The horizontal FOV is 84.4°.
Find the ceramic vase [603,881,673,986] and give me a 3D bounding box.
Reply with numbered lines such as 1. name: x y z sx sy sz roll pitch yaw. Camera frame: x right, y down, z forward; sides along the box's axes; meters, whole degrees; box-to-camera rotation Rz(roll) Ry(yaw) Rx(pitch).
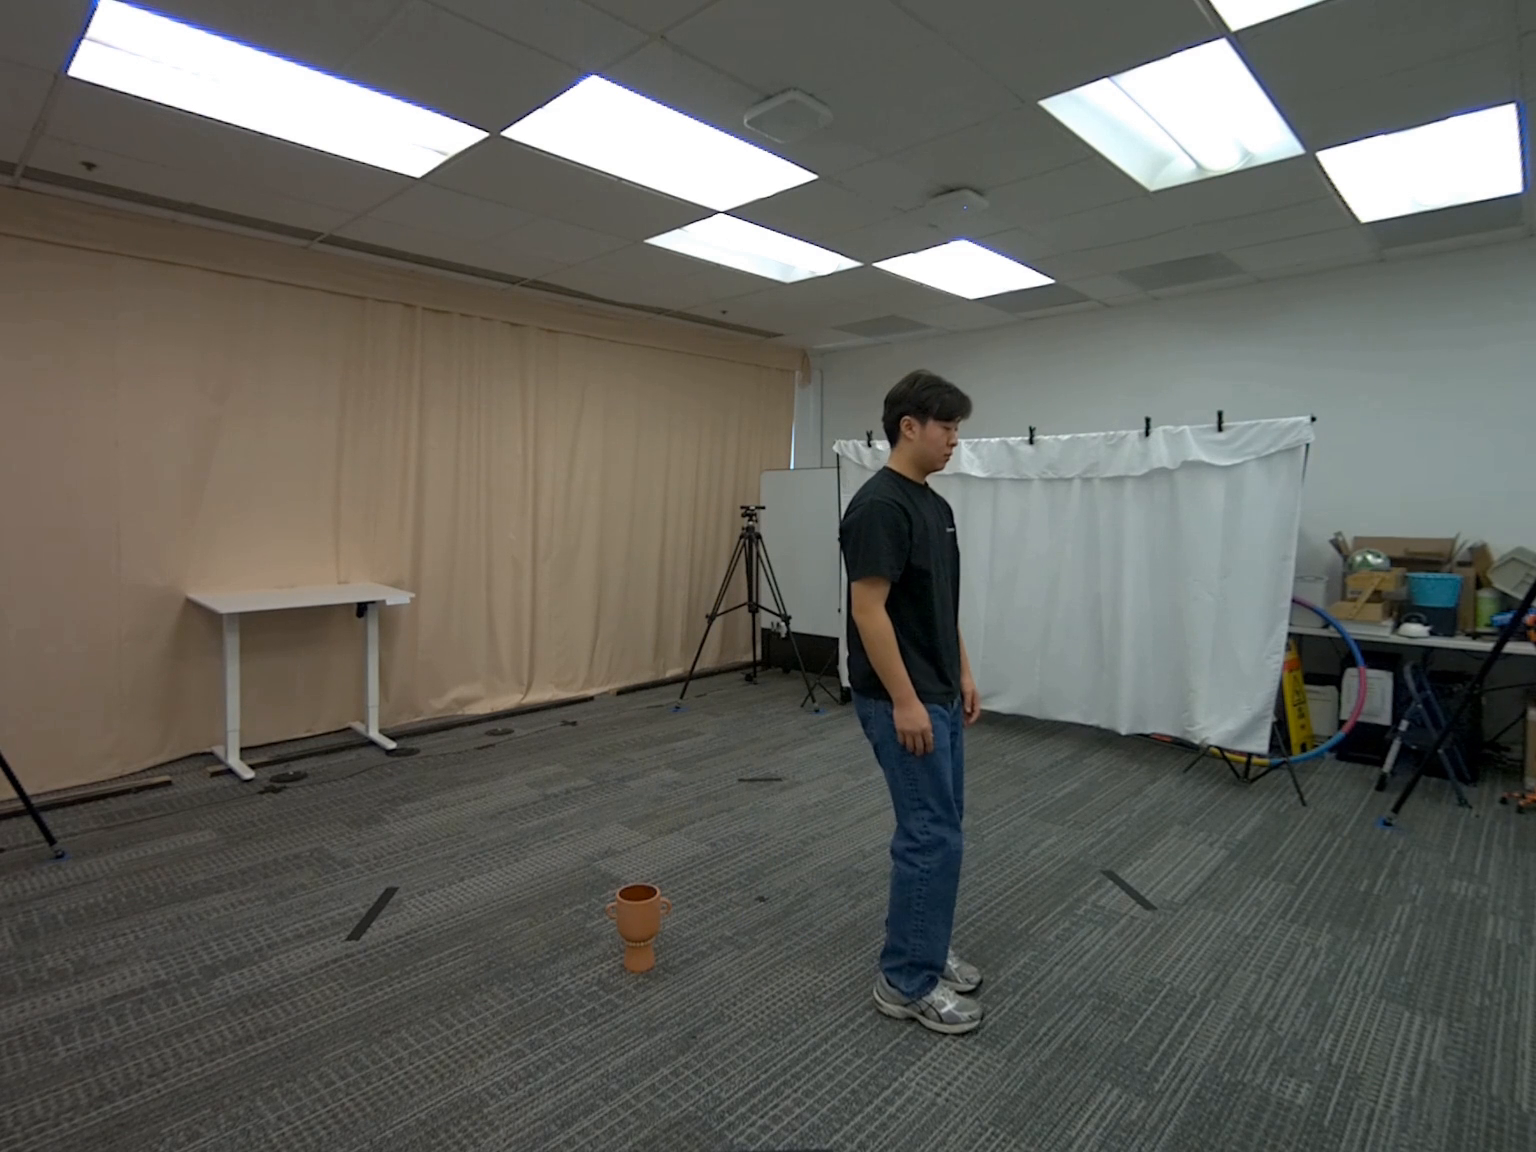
1. ceramic vase: -0.392 1.070 2.552 0.163 0.219 0.131 1 2 28
